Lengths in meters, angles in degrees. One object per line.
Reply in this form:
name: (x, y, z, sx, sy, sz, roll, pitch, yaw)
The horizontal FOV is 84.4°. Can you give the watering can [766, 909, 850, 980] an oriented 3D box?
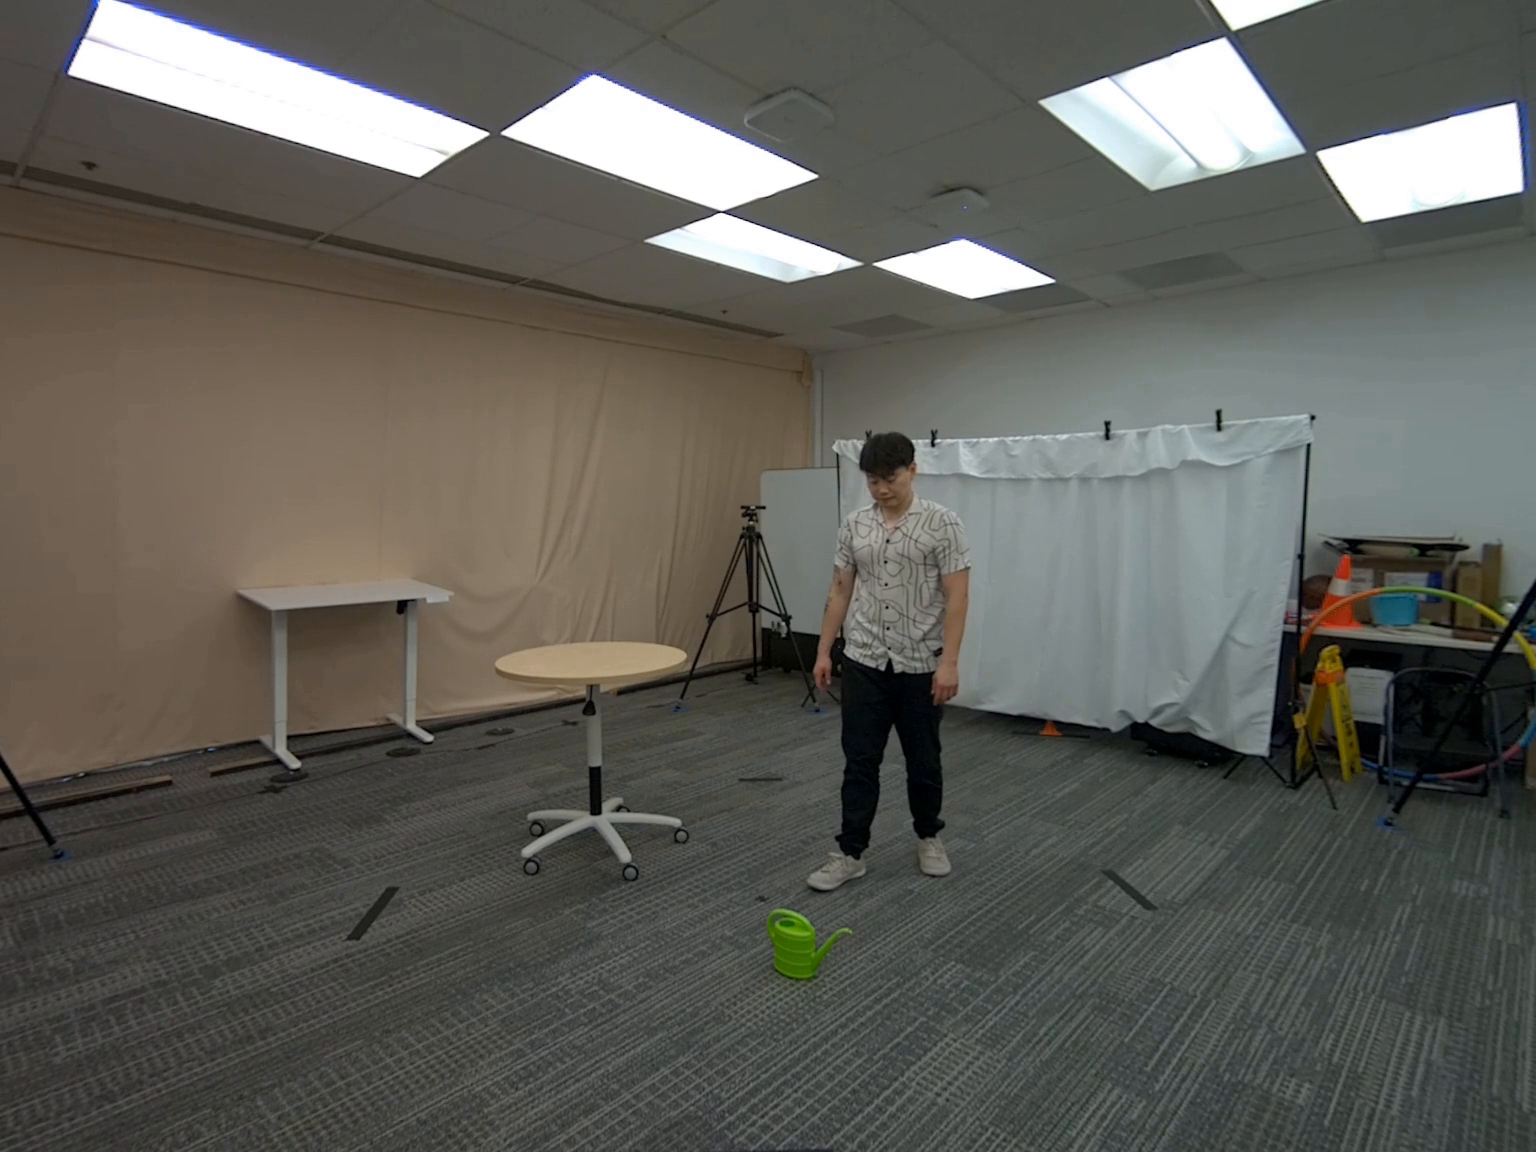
watering can: (0.117, 1.091, 2.482, 0.095, 0.176, 0.287, -1, 3, -43)
